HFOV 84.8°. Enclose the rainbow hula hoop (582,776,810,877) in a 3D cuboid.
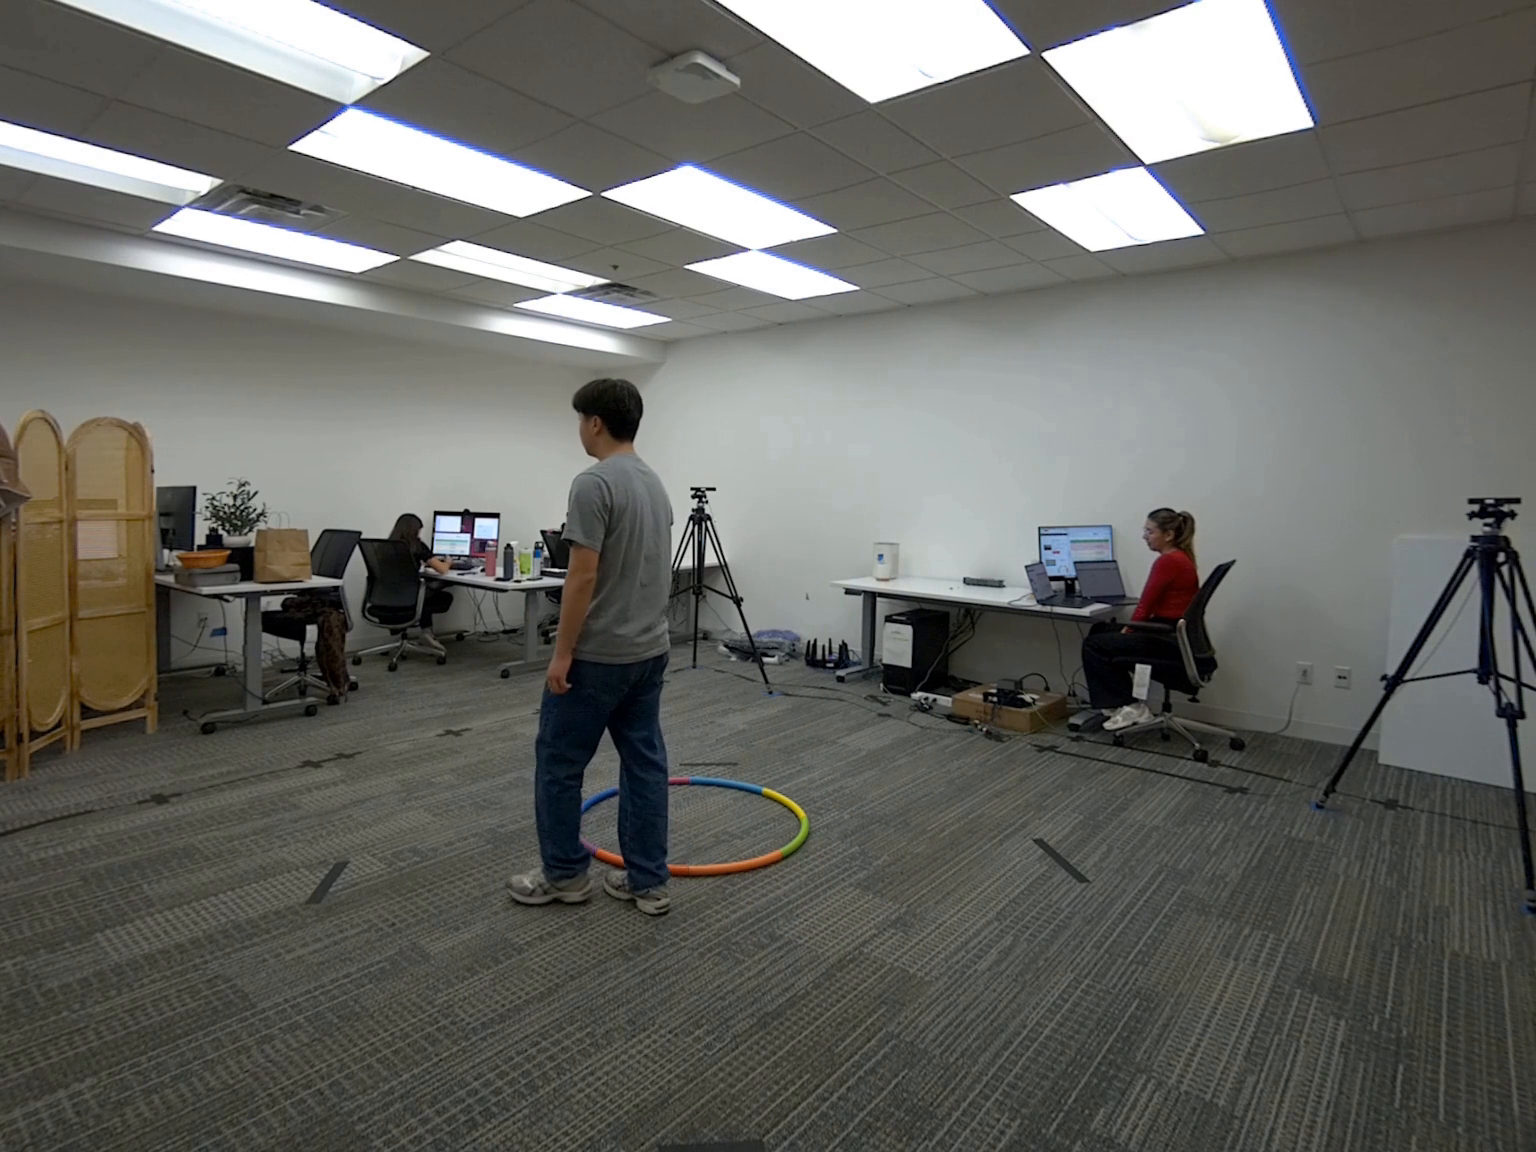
[{"bbox_3d":[-0.334,0.993,3.514,0.978,0.035,0.984,1,6,-2],"label":"rainbow hula hoop"}]
